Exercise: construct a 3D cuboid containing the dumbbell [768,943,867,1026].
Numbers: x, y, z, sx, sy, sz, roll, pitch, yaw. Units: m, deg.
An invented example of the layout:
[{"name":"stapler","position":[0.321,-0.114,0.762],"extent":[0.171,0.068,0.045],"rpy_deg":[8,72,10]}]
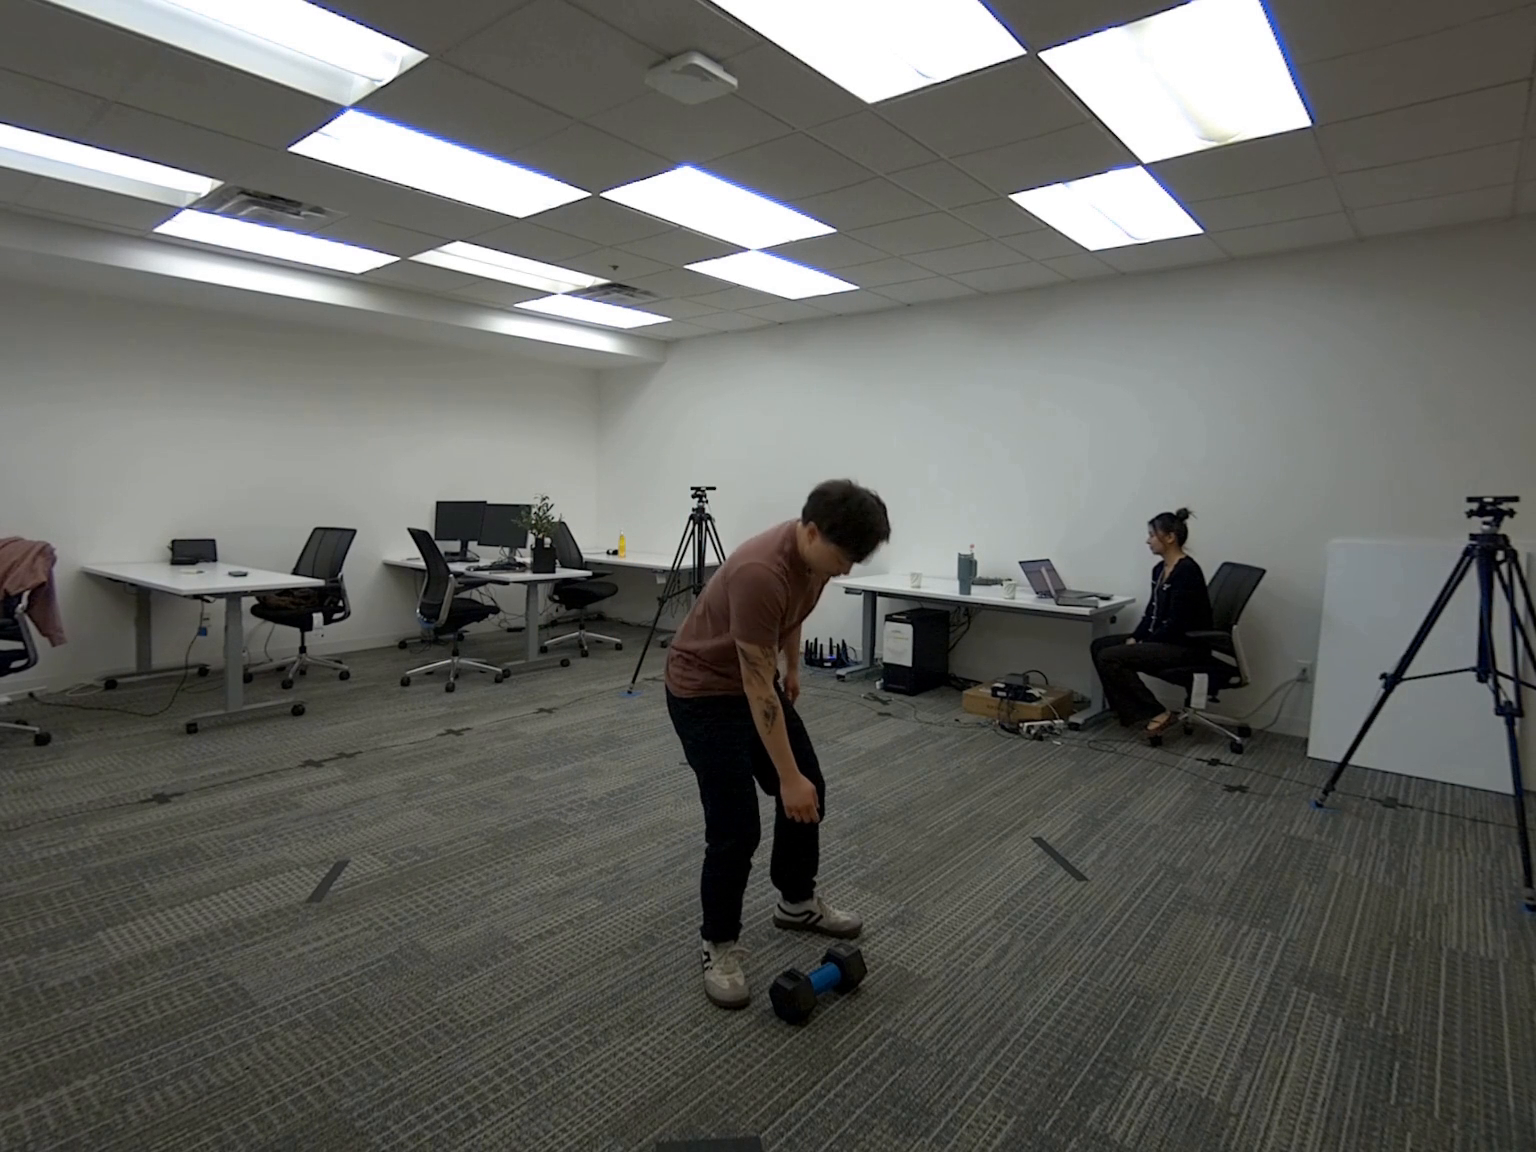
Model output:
[{"name":"dumbbell","position":[0.134,1.098,2.316],"extent":[0.285,0.108,0.127],"rpy_deg":[-5,8,-44]}]
